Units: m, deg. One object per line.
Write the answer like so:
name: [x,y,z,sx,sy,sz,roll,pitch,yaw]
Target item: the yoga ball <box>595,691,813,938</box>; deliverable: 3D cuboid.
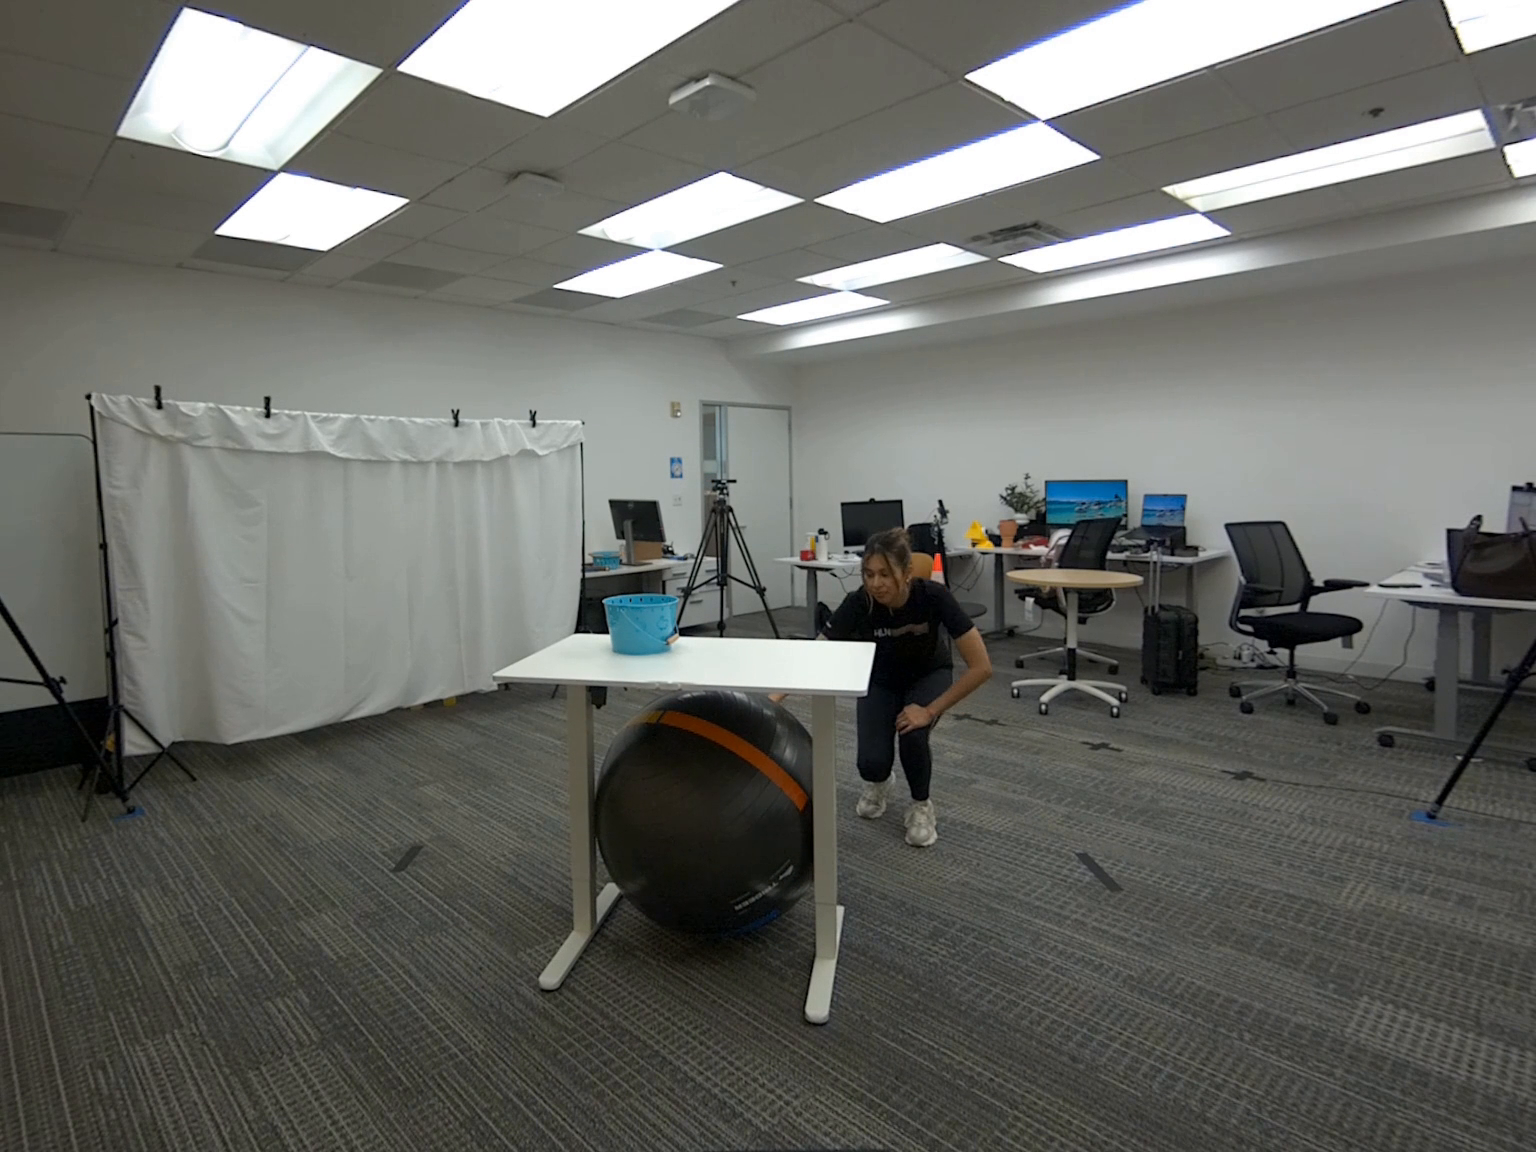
yoga ball: [-0.170,0.747,2.694,0.757,0.755,0.762,-1,5,-2]
